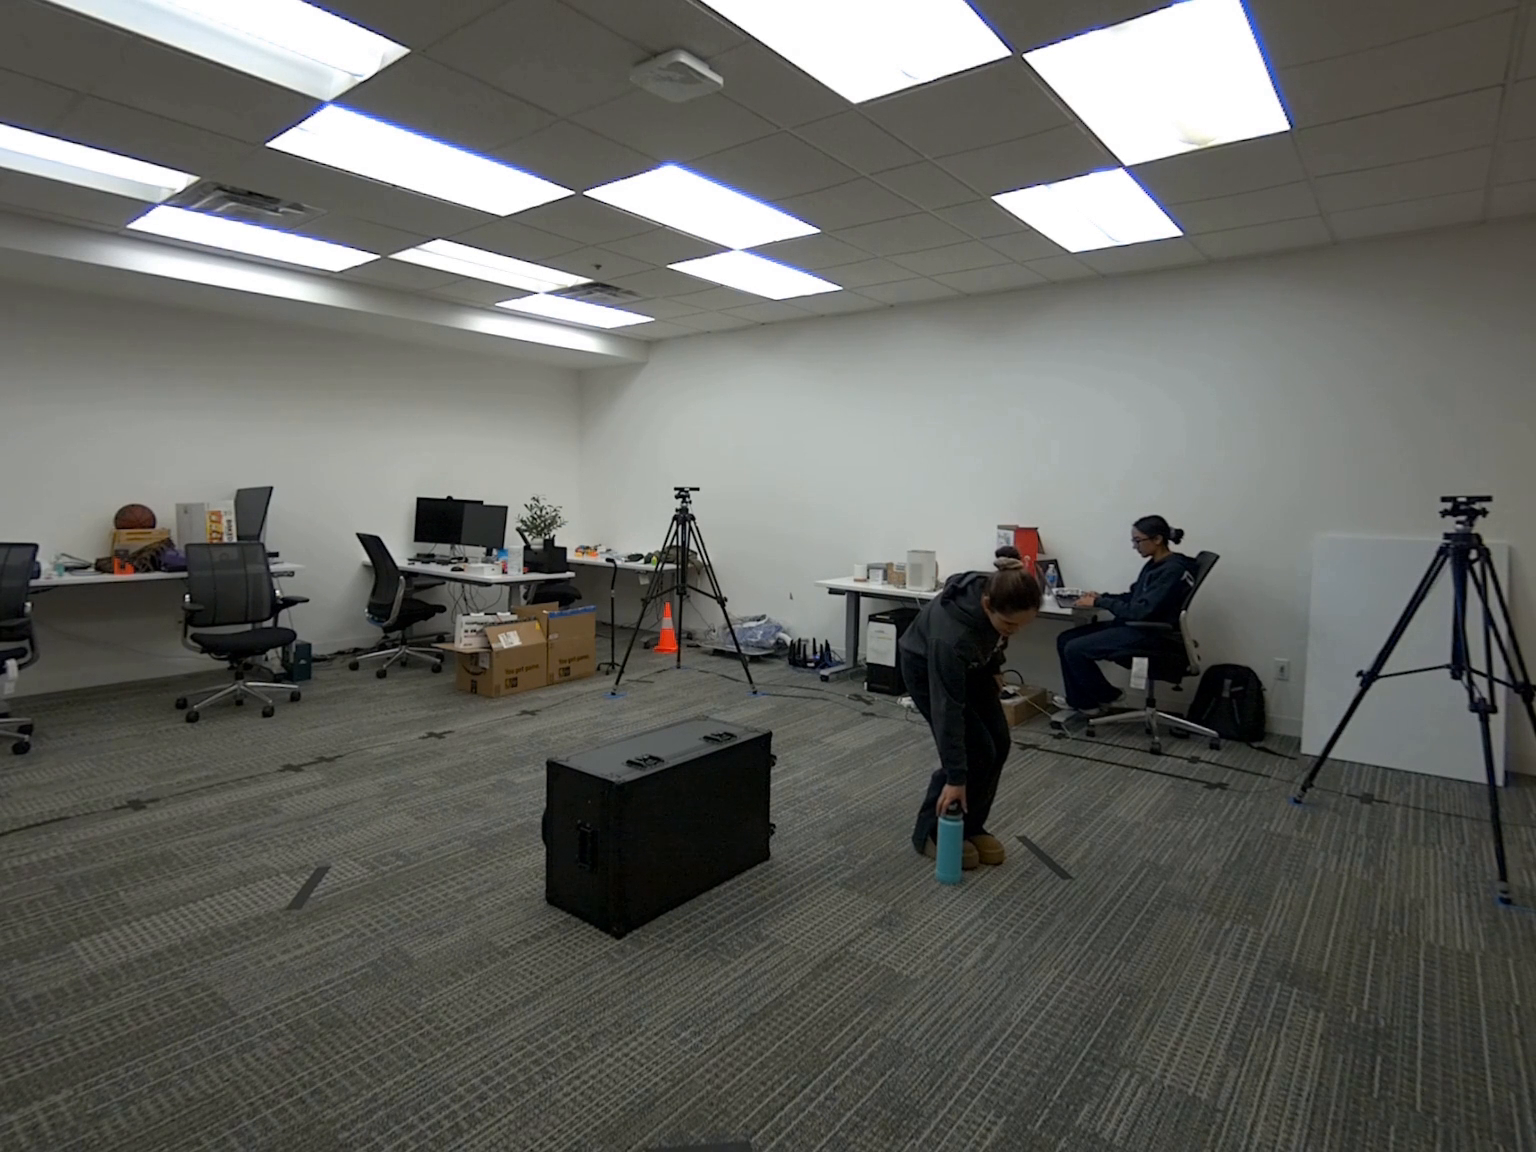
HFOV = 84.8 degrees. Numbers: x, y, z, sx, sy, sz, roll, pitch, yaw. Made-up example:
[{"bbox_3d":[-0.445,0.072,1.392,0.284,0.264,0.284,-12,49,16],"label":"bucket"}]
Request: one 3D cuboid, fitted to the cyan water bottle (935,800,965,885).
[{"bbox_3d":[0.662,0.951,3.064,0.092,0.282,0.093,1,4,-2],"label":"cyan water bottle"}]
